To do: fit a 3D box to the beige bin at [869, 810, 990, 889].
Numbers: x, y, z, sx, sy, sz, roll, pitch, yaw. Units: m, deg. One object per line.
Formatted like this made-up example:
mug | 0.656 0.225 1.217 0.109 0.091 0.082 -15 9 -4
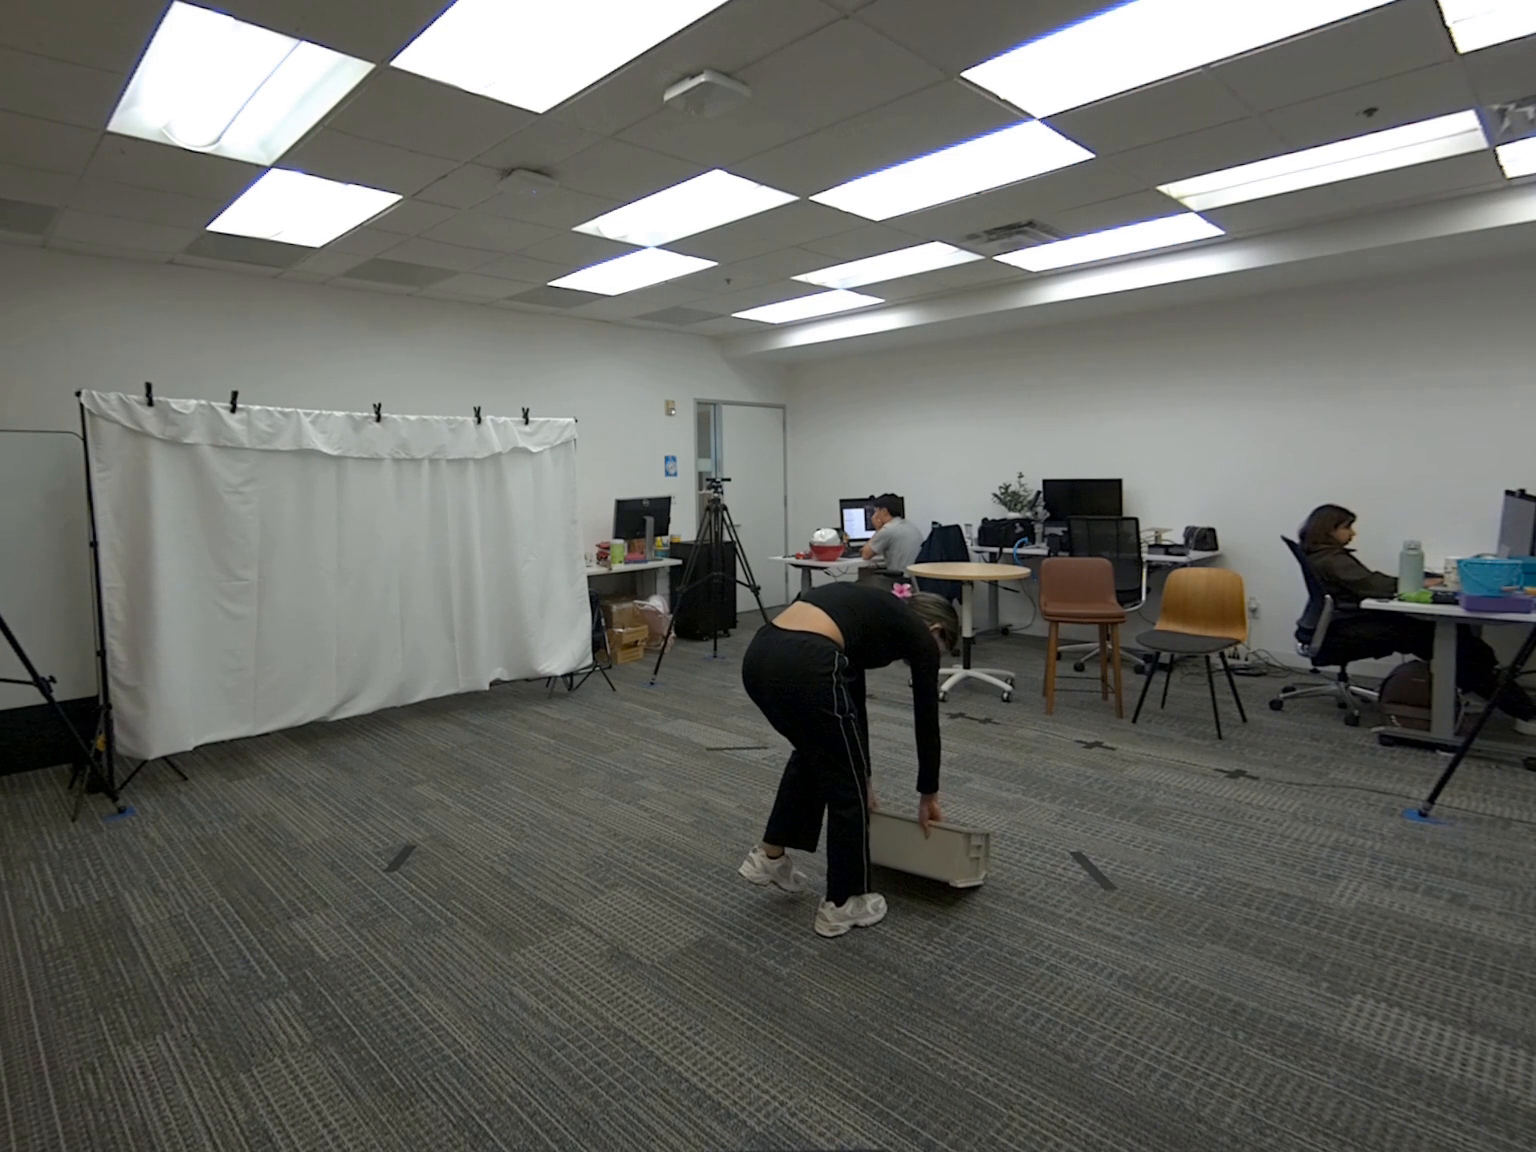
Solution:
beige bin | 0.516 0.923 2.946 0.434 0.190 0.364 6 -12 29
